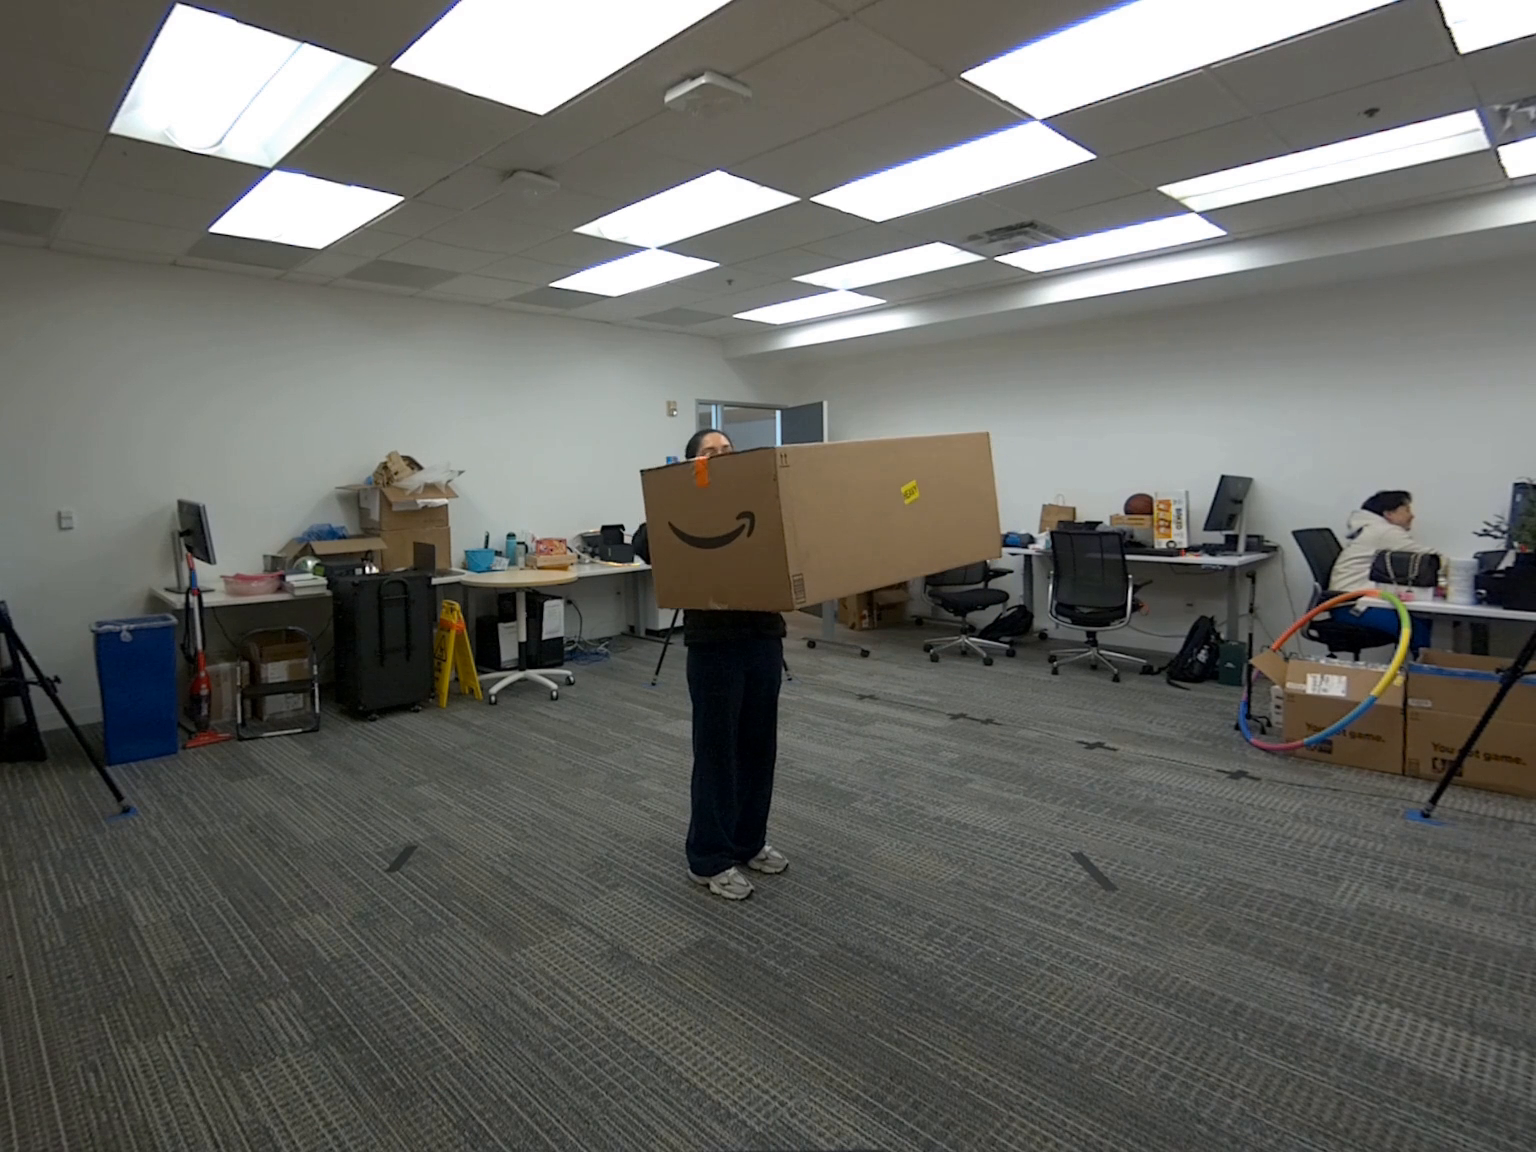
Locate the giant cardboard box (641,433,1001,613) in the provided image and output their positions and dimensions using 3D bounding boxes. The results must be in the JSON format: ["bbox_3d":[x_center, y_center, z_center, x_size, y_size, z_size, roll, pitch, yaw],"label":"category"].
[{"bbox_3d":[0.192,-0.191,2.721,1.001,0.425,0.593,-11,6,-43],"label":"giant cardboard box"}]
